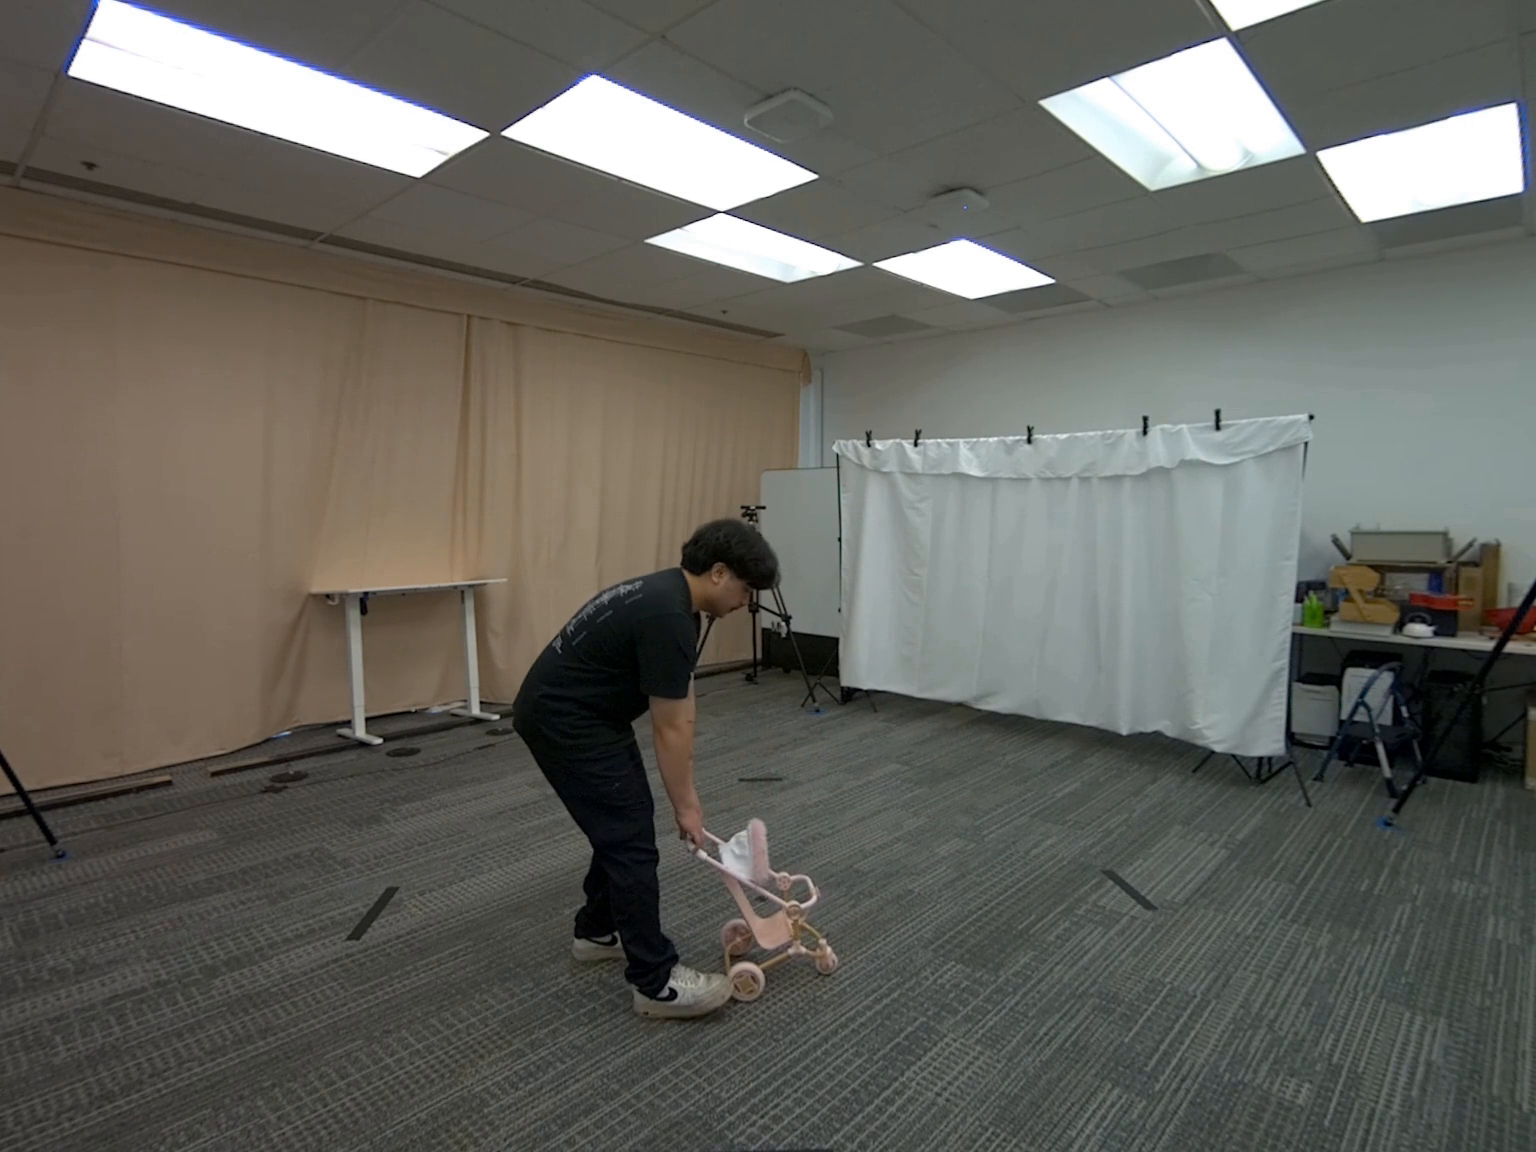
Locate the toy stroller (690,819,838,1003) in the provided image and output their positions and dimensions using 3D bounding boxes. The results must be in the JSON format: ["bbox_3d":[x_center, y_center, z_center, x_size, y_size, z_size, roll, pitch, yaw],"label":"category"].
[{"bbox_3d":[-0.011,0.963,2.477,0.341,0.533,0.282,-16,3,0],"label":"toy stroller"}]
